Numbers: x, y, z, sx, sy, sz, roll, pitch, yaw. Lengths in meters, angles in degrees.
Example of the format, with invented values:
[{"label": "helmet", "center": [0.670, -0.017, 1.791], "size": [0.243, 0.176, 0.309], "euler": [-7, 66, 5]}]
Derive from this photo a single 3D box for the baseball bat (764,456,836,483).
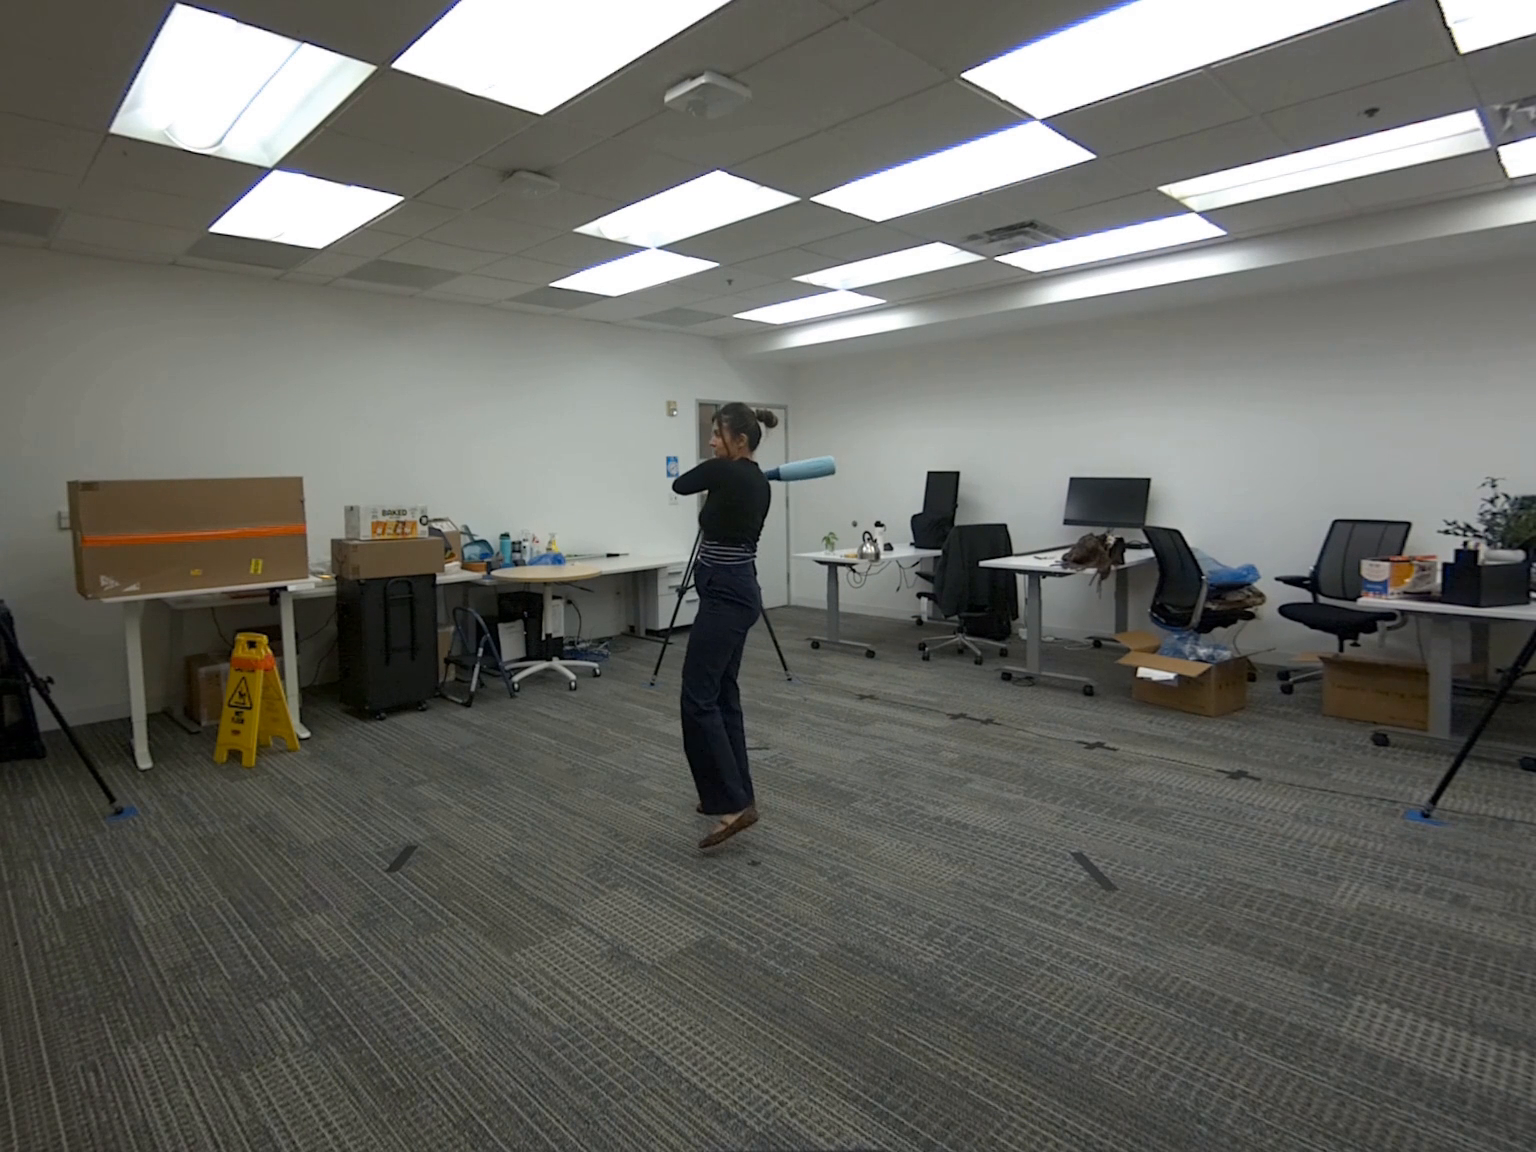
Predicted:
[{"label": "baseball bat", "center": [0.025, -0.454, 3.864], "size": [0.545, 0.089, 0.089], "euler": [-9, 4, 4]}]
